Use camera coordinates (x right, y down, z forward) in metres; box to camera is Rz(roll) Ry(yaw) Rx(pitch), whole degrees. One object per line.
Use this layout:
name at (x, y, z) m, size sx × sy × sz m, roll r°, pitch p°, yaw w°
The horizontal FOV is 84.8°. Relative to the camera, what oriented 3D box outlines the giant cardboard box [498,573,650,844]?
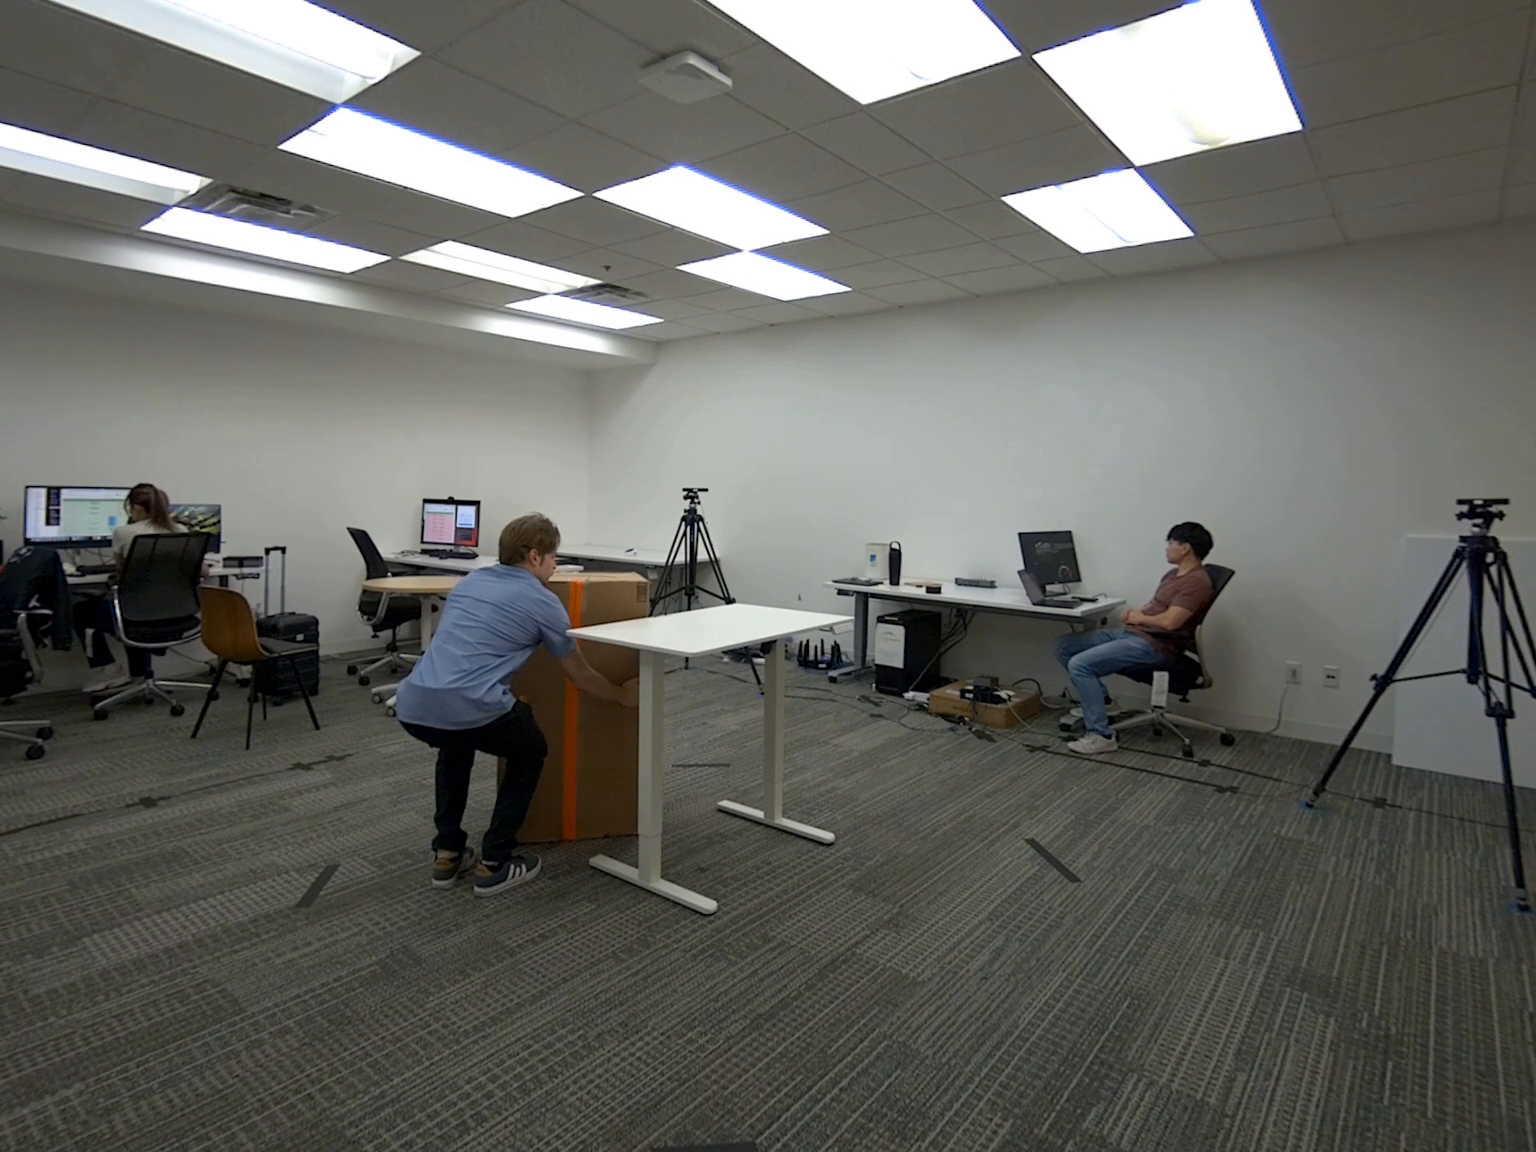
giant cardboard box at (-0.836, 0.506, 3.527) m, size 0.568 × 1.024 × 0.434 m, roll 1°, pitch 2°, yaw -16°
